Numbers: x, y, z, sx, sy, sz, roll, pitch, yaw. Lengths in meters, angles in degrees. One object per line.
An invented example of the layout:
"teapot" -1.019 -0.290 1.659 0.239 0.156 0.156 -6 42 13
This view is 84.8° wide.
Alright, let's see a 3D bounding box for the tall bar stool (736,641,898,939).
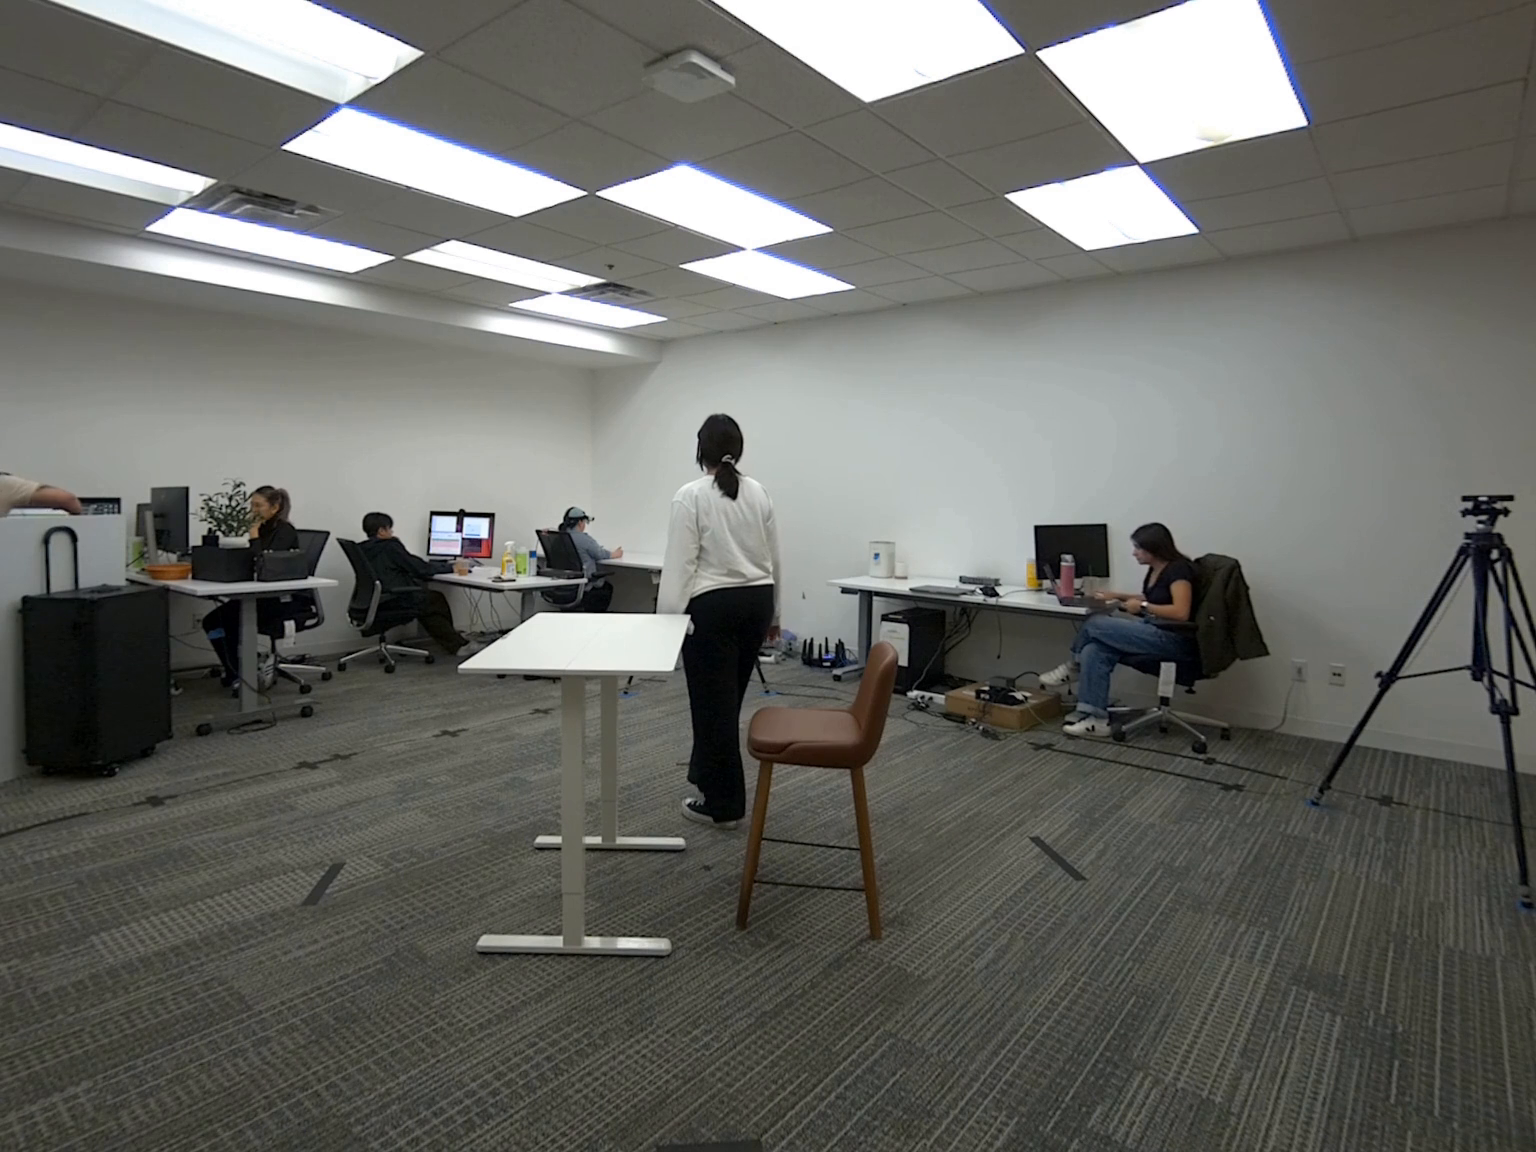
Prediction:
"tall bar stool" 0.155 0.667 2.827 0.472 0.887 0.454 4 4 7
